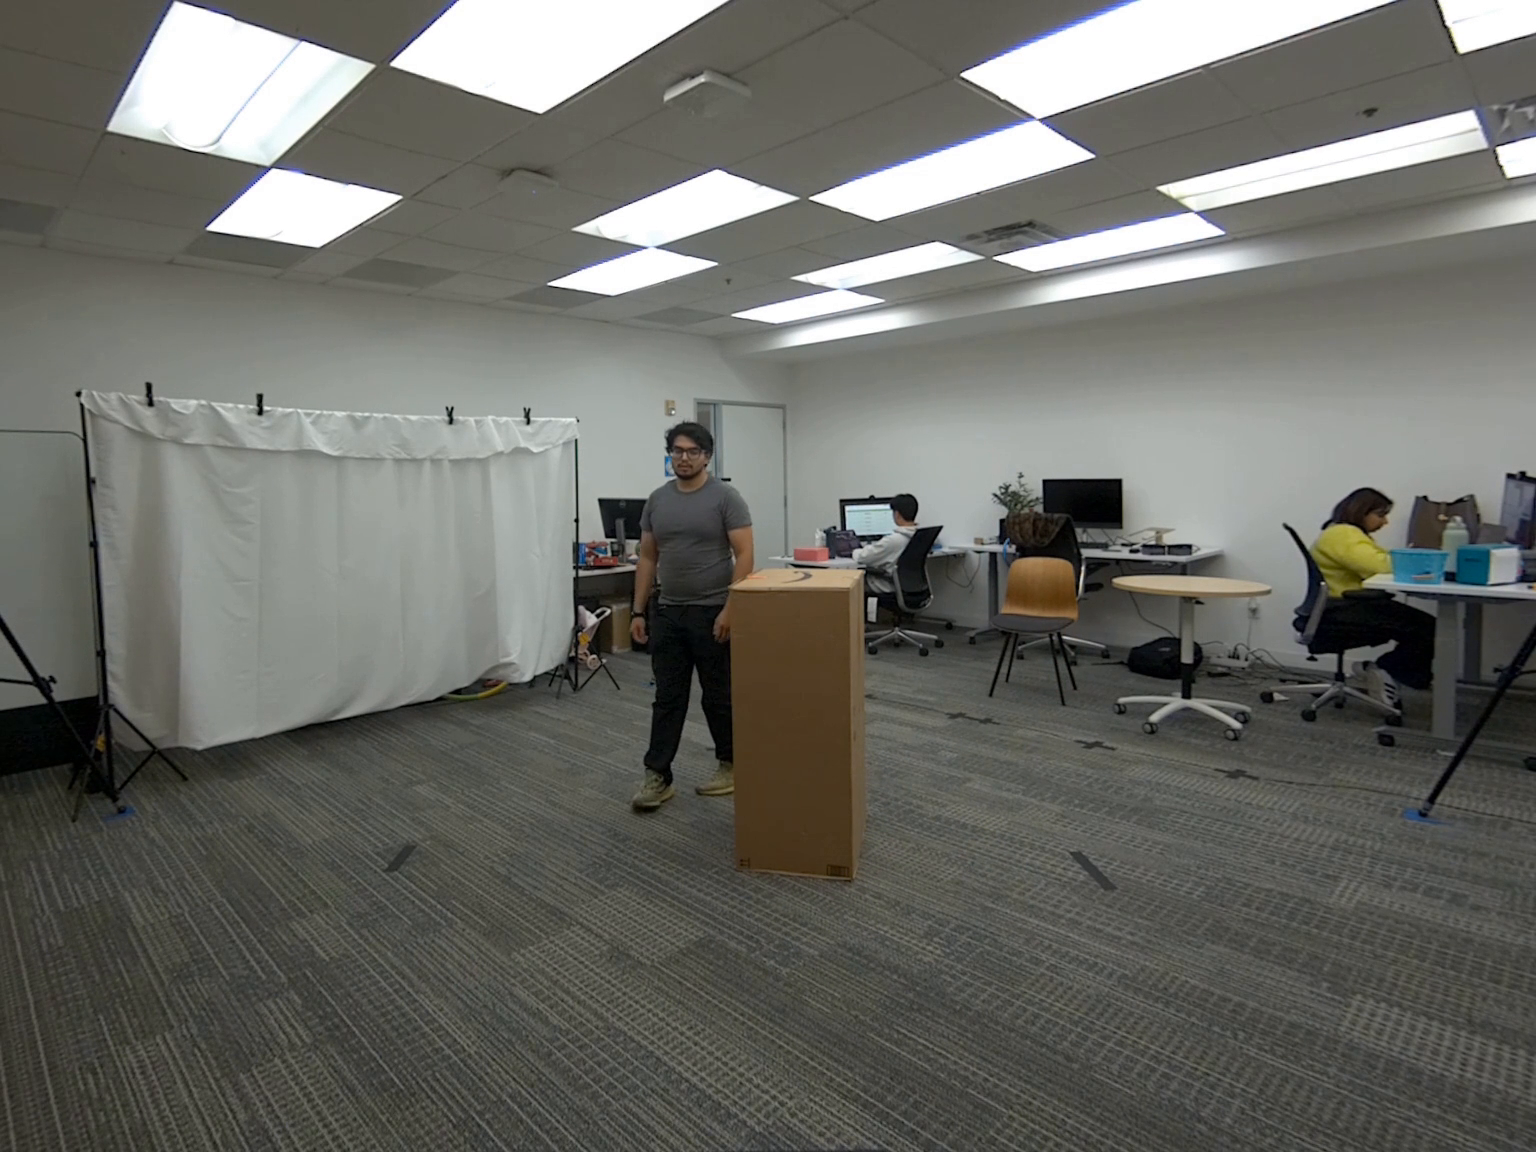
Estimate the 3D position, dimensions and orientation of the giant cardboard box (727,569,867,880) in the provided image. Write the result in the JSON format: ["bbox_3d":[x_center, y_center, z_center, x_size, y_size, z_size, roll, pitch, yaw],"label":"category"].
[{"bbox_3d":[0.131,0.513,3.236,0.432,1.022,0.572,0,4,13],"label":"giant cardboard box"}]
